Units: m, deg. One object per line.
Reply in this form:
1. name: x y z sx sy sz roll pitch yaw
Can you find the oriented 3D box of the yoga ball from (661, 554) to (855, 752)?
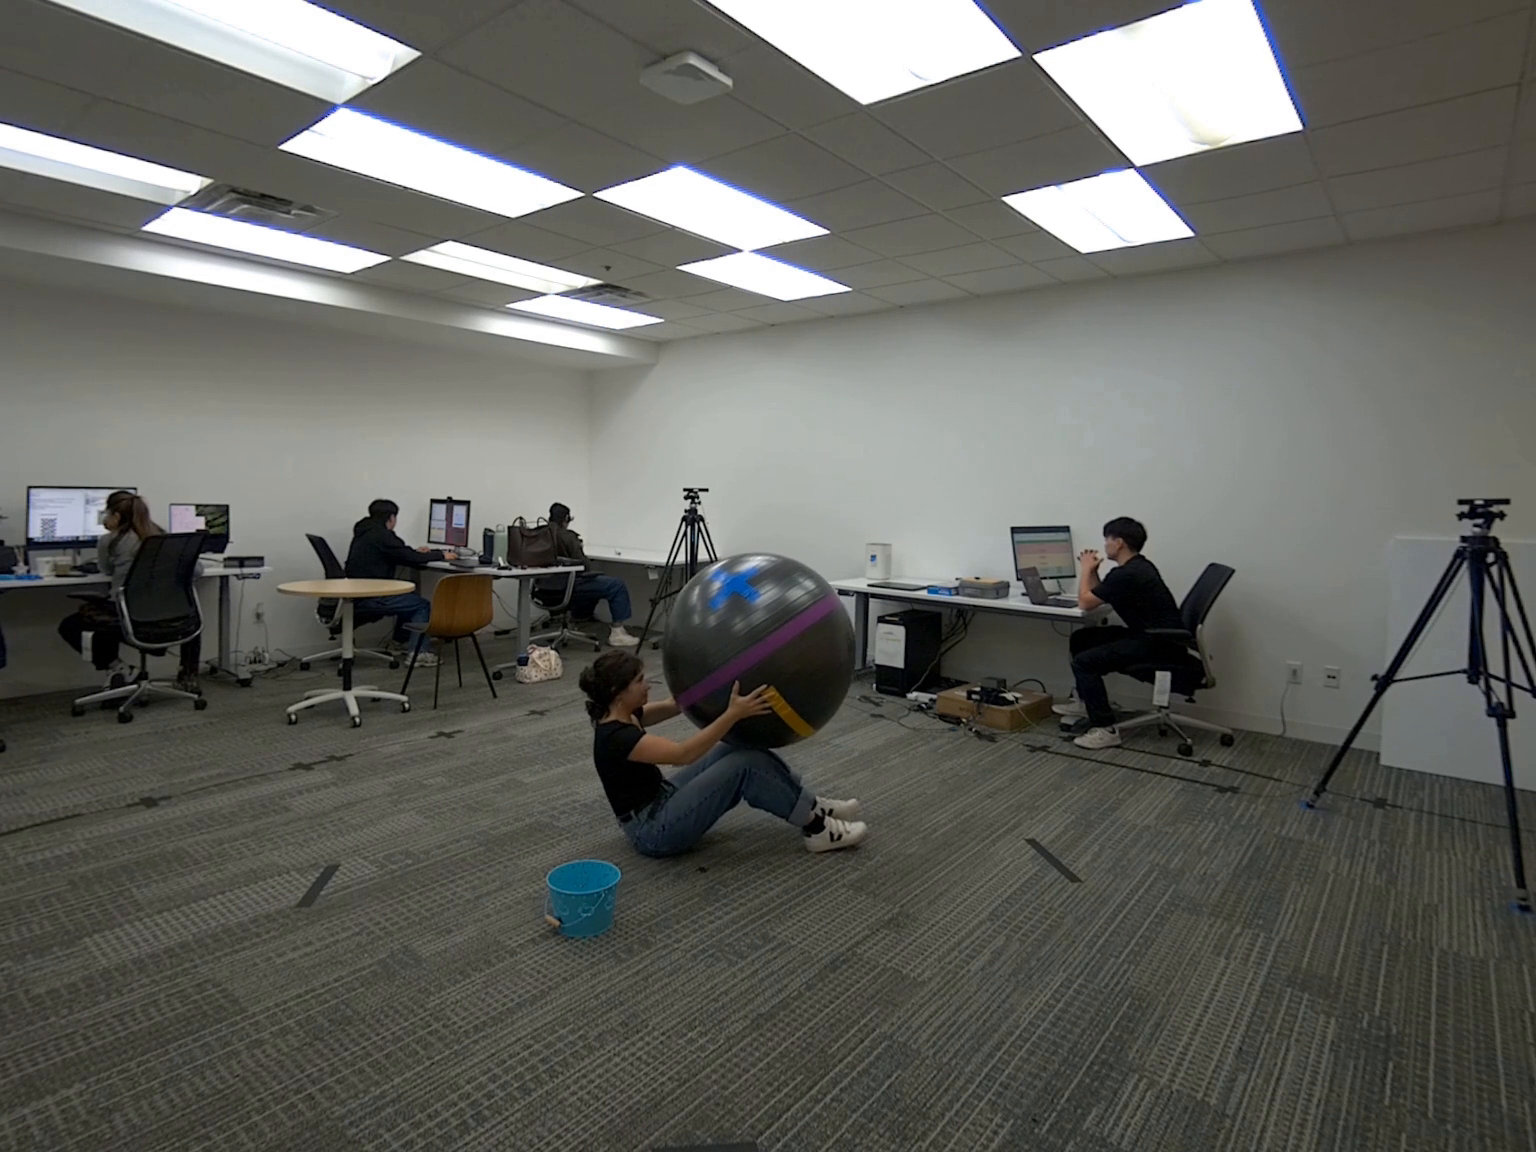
1. yoga ball: -0.051 0.292 3.318 0.757 0.756 0.761 1 4 -2
